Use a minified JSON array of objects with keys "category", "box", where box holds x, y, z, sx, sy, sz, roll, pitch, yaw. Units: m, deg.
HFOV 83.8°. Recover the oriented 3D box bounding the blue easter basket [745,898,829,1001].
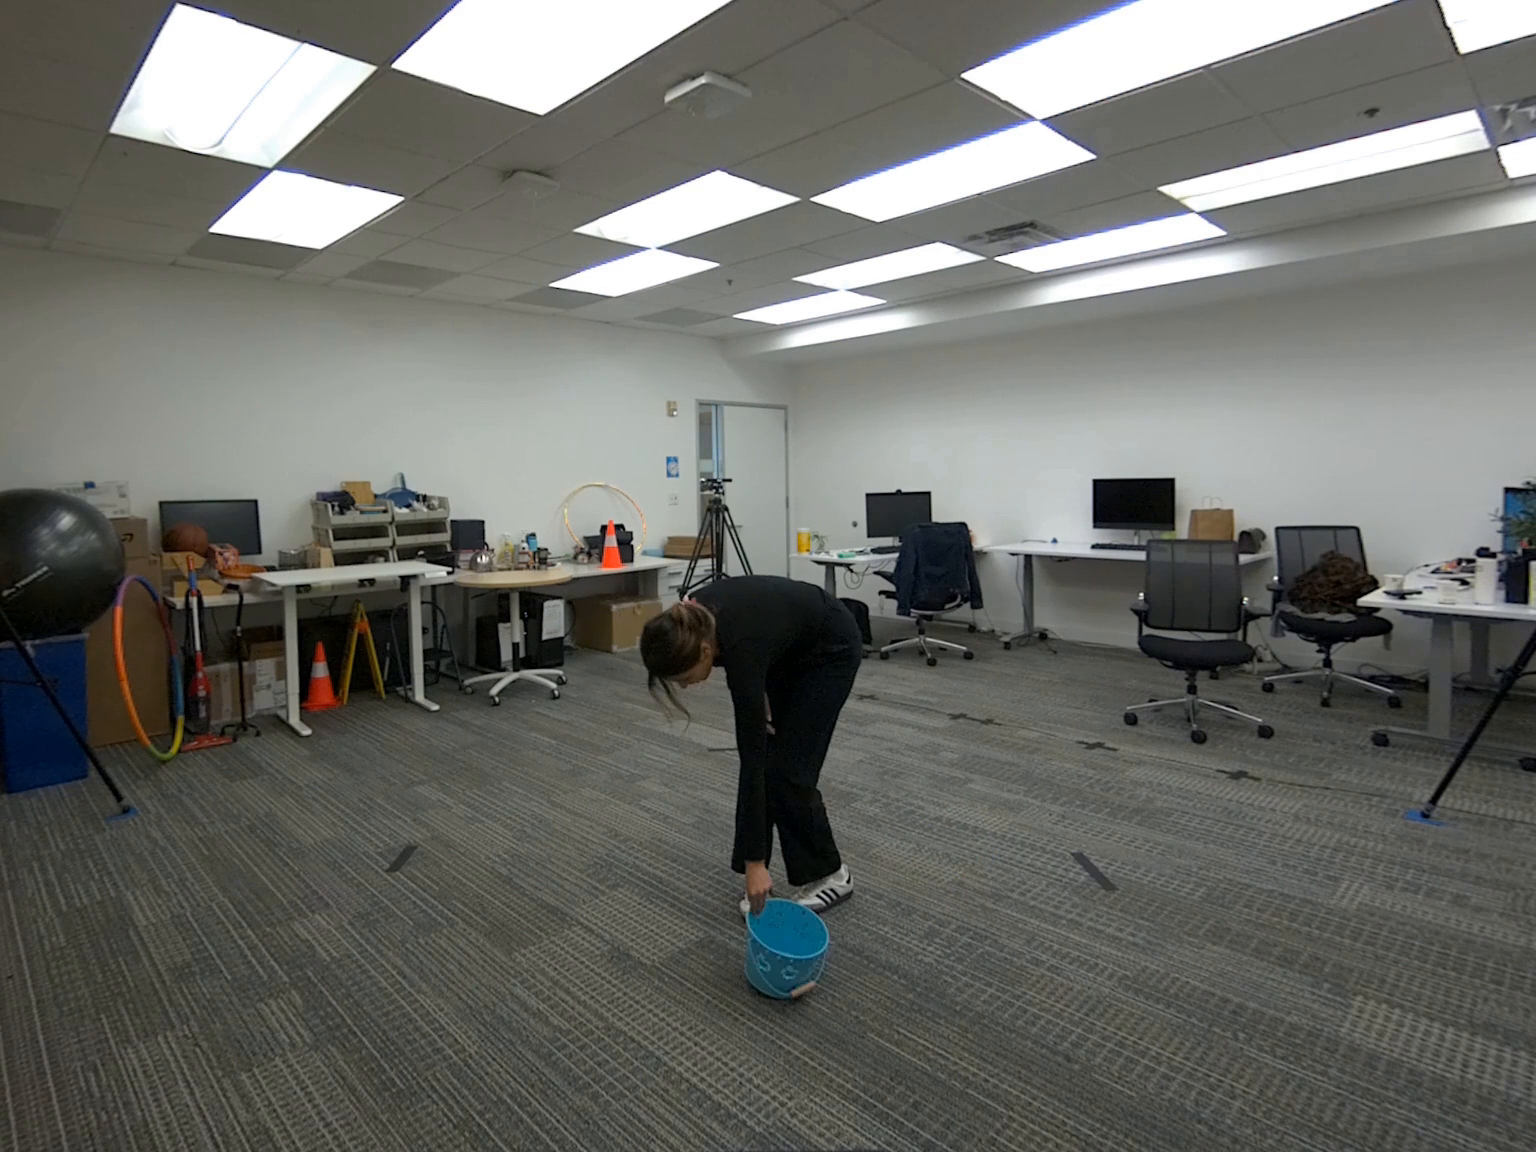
[{"category":"blue easter basket","box":[0.049,1.039,2.359,0.243,0.154,0.247,9,13,-4]}]
